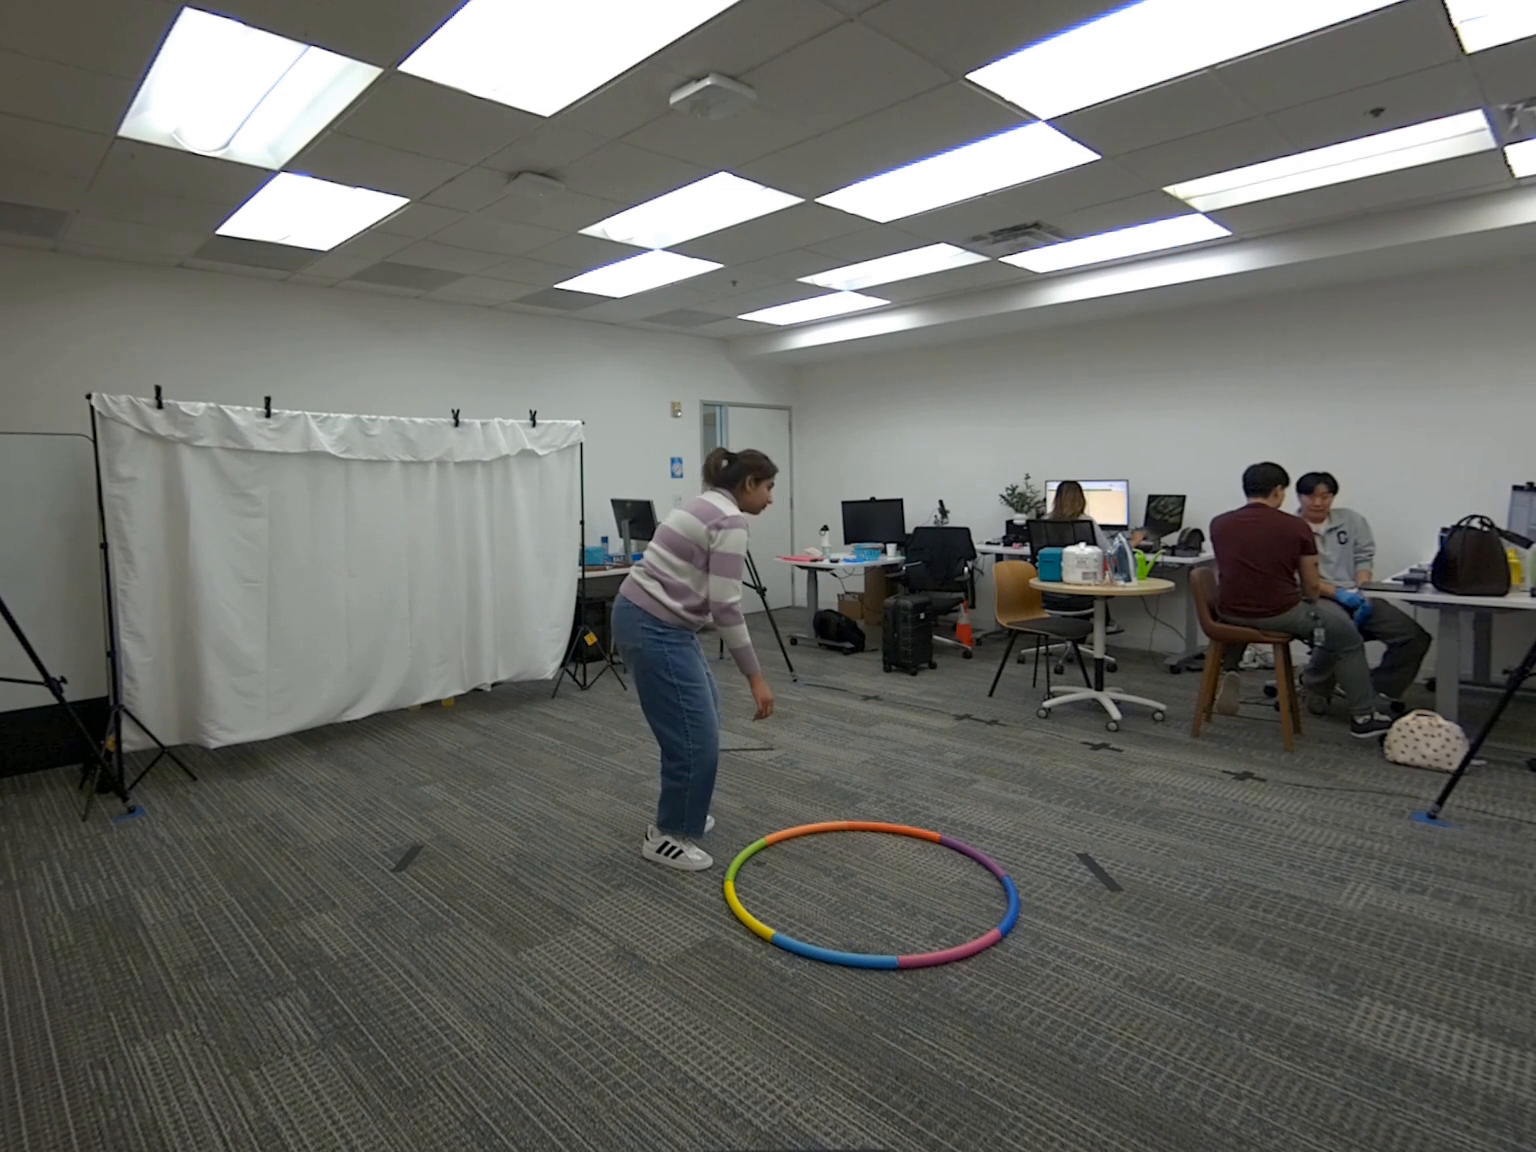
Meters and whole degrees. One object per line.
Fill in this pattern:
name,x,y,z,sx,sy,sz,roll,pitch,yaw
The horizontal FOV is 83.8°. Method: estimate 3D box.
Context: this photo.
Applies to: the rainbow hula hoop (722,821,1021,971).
rainbow hula hoop,0.337,1.034,2.910,0.978,0.035,0.984,-1,6,-2
